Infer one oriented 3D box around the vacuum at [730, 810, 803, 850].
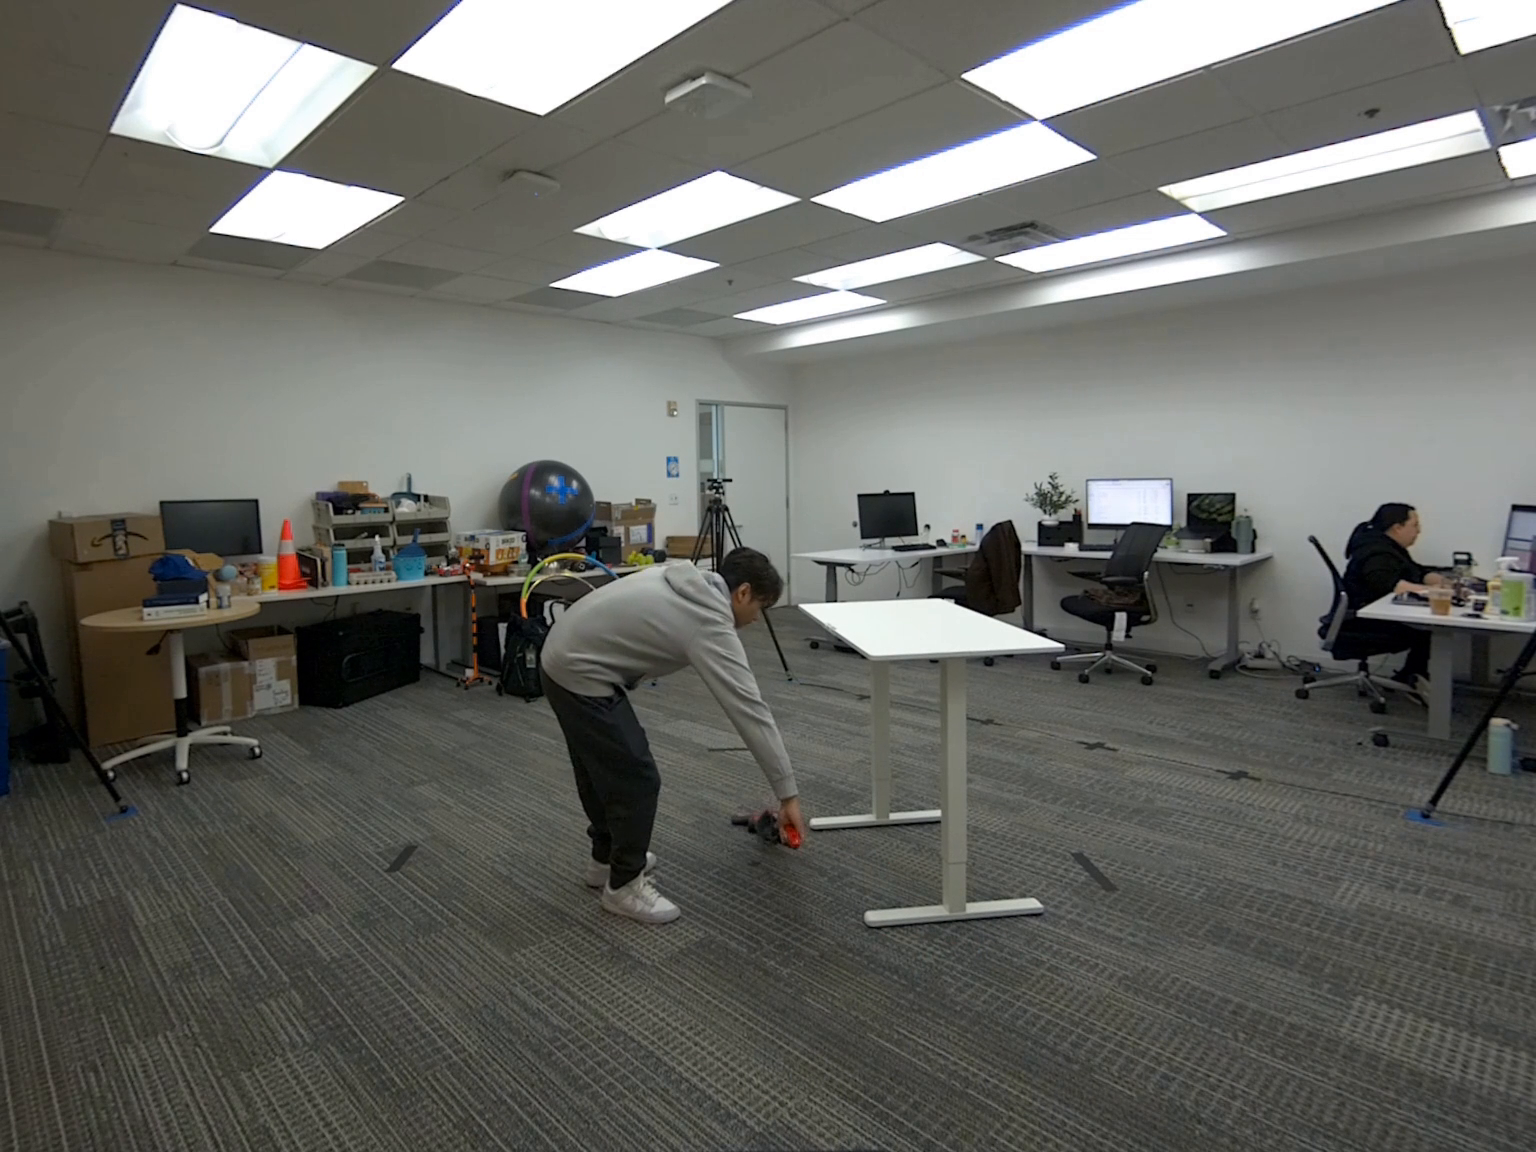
[{"bbox_3d":[0.026,0.875,2.912,0.251,0.146,1.040,-11,-10,-6],"label":"vacuum"}]
